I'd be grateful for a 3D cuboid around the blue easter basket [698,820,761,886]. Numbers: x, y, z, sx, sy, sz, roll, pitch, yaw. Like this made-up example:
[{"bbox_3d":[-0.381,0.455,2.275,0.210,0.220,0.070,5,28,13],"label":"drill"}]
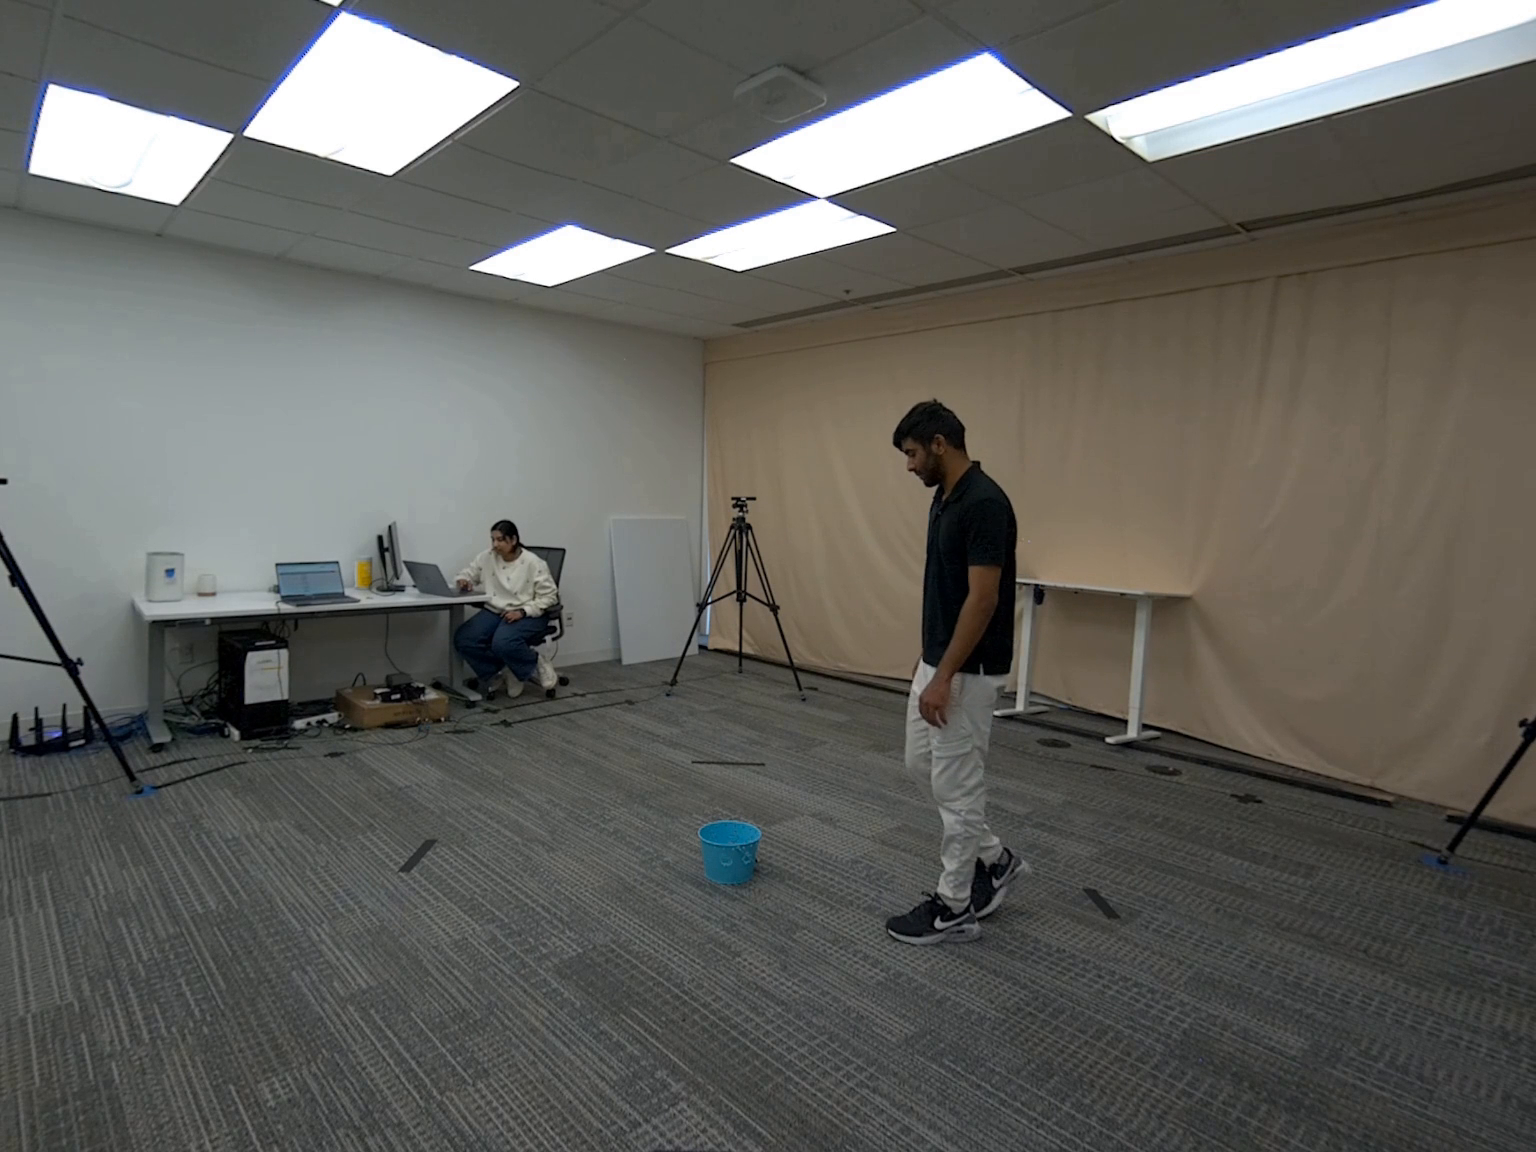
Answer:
[{"bbox_3d":[-0.145,1.022,3.121,0.243,0.155,0.244,1,4,-1],"label":"blue easter basket"}]
